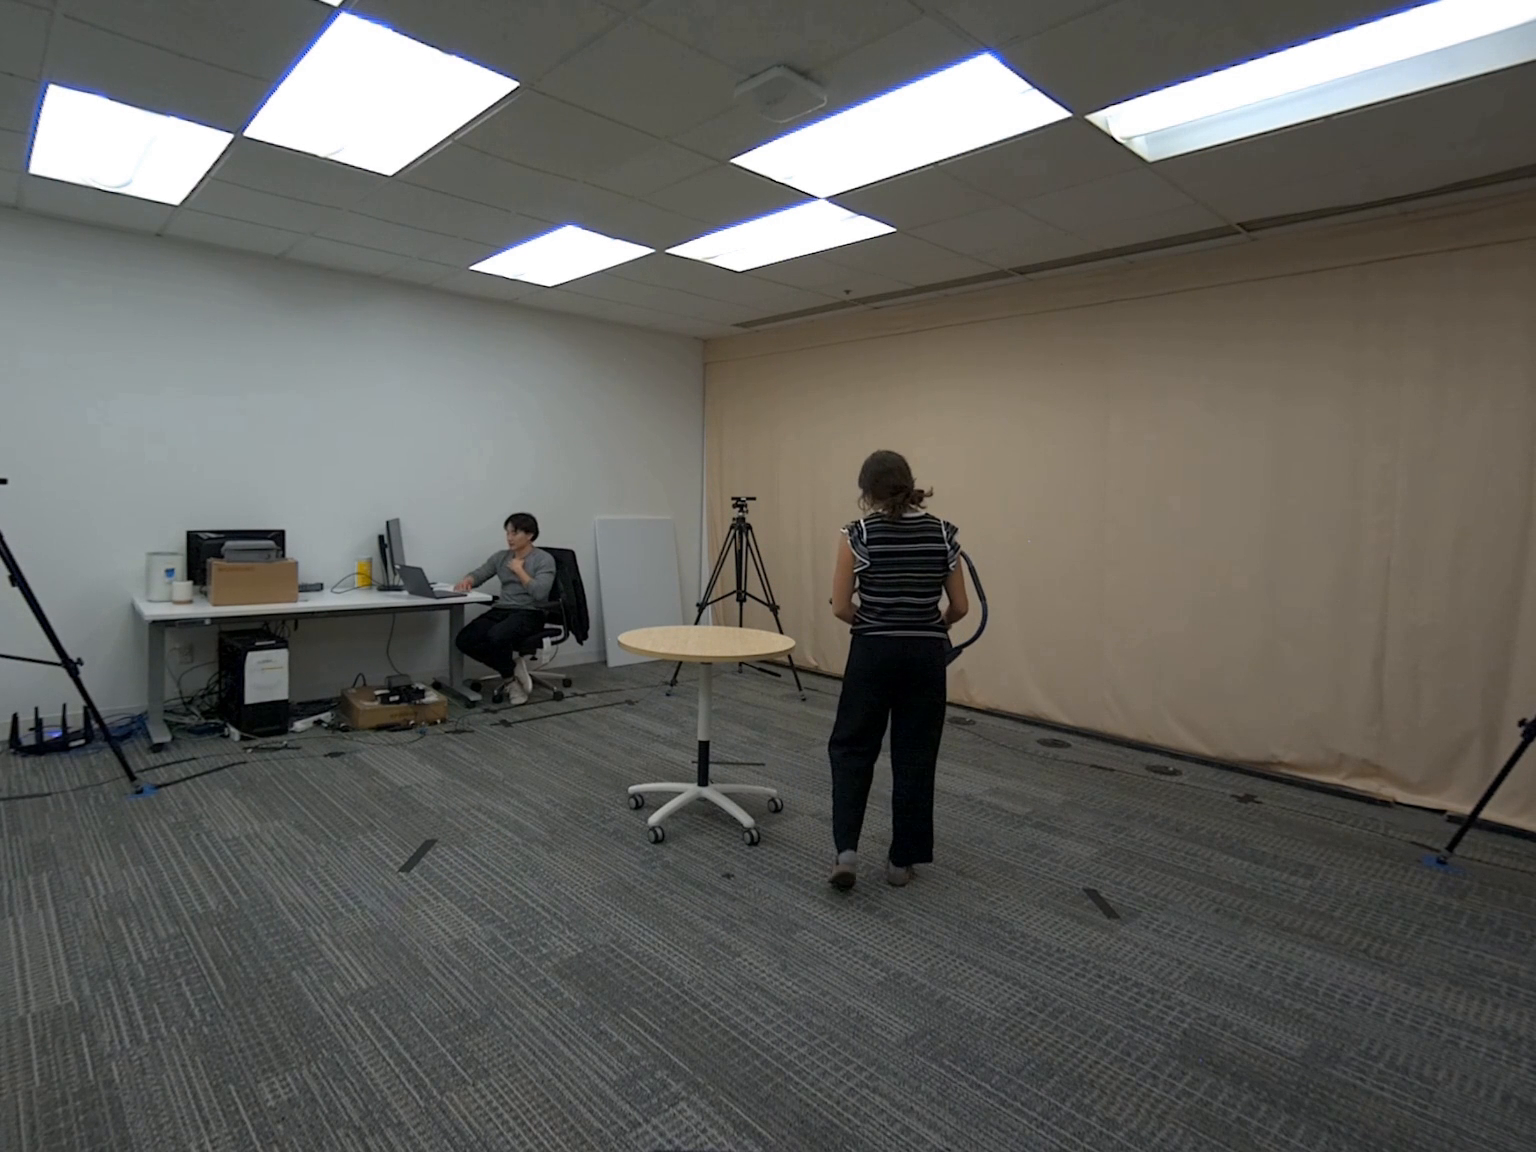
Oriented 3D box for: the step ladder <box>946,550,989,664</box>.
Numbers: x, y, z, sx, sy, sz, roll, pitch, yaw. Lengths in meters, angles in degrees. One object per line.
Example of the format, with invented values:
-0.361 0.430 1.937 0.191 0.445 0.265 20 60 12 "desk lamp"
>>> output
0.579 0.150 3.271 0.343 0.439 0.605 -4 -24 -27 "step ladder"
